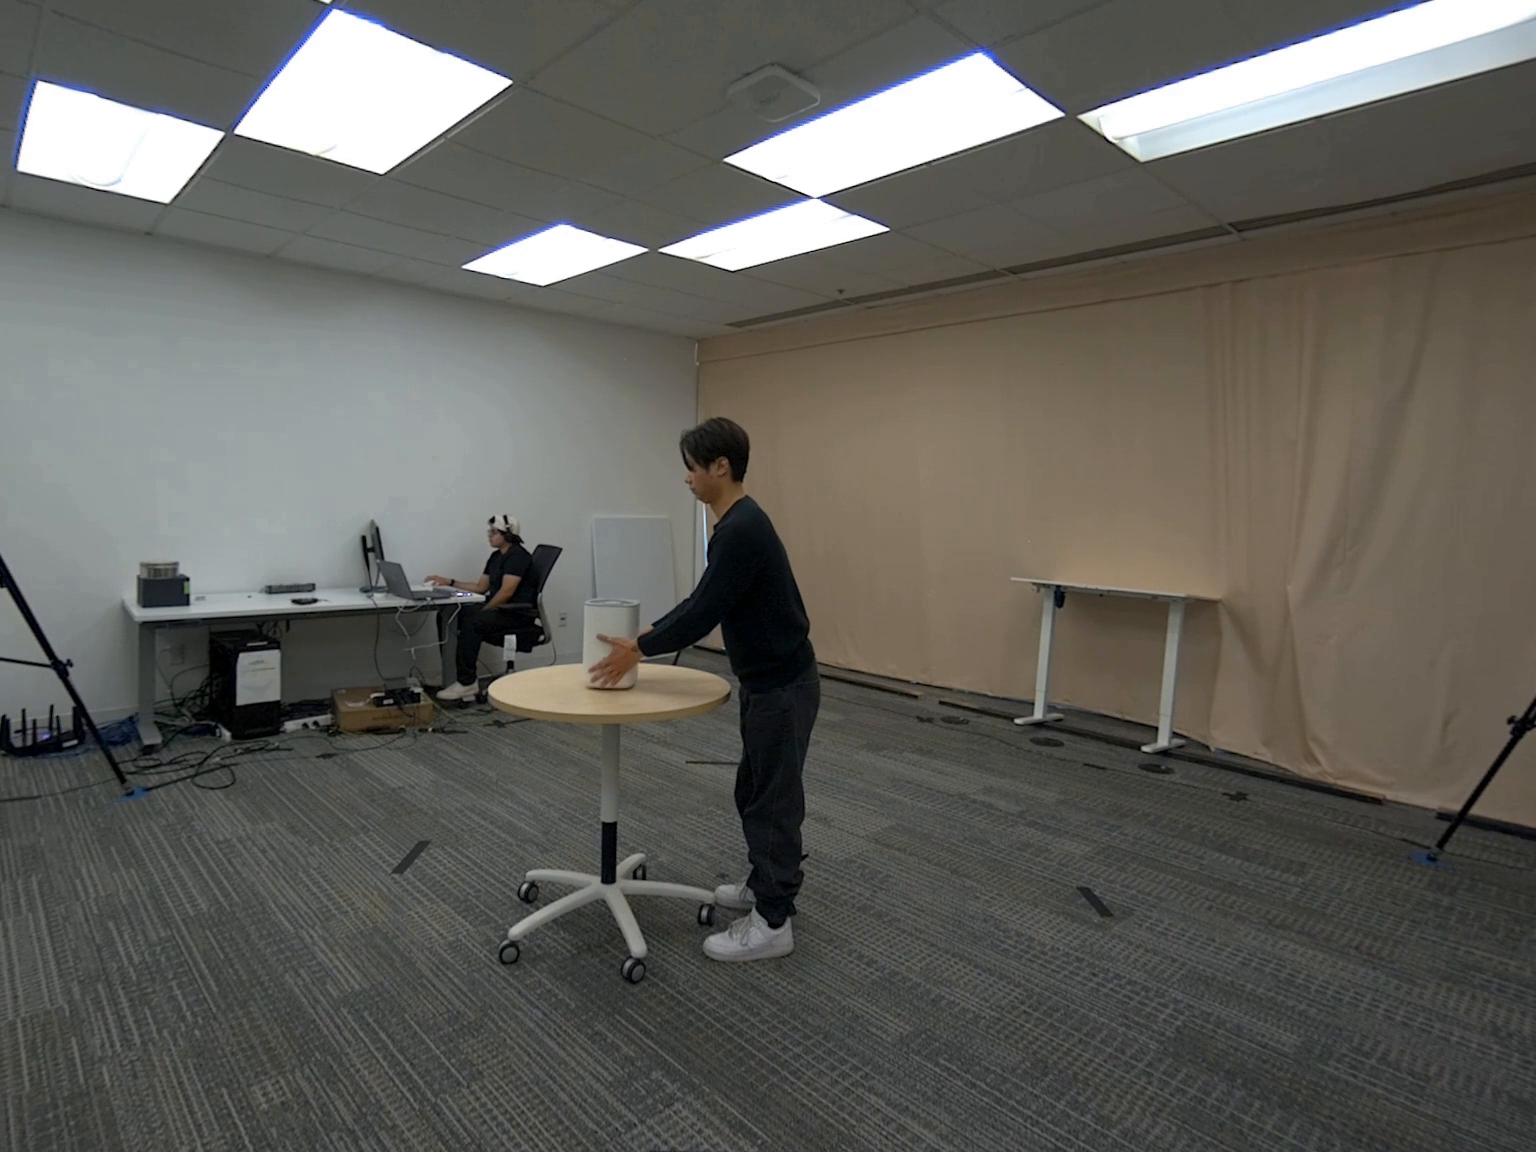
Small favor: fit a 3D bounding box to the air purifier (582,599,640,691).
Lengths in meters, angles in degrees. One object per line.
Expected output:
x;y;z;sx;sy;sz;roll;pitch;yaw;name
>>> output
-0.515;0.210;2.707;0.171;0.264;0.172;2;4;2;air purifier
